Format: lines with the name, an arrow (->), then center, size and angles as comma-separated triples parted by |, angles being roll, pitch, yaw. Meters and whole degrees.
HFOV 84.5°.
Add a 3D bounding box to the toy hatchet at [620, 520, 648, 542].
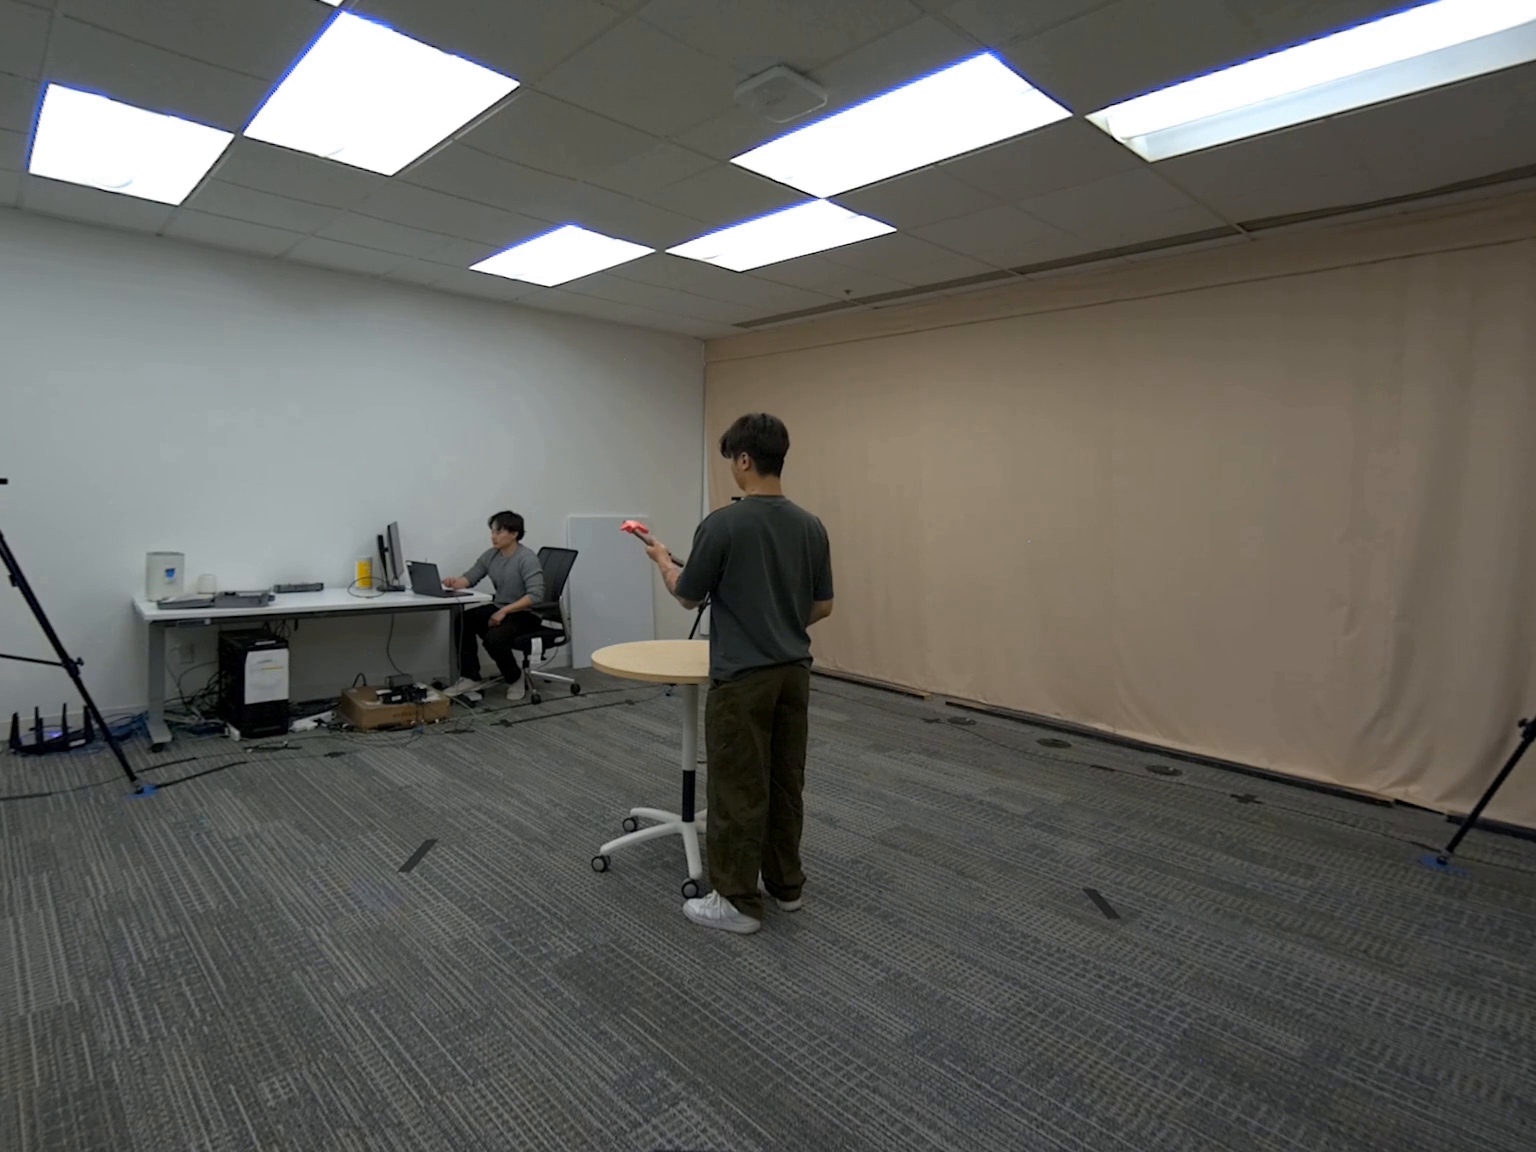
toy hatchet -> -0.408, -0.128, 3.040 | 0.270, 0.029, 0.131 | 30, 22, 1
